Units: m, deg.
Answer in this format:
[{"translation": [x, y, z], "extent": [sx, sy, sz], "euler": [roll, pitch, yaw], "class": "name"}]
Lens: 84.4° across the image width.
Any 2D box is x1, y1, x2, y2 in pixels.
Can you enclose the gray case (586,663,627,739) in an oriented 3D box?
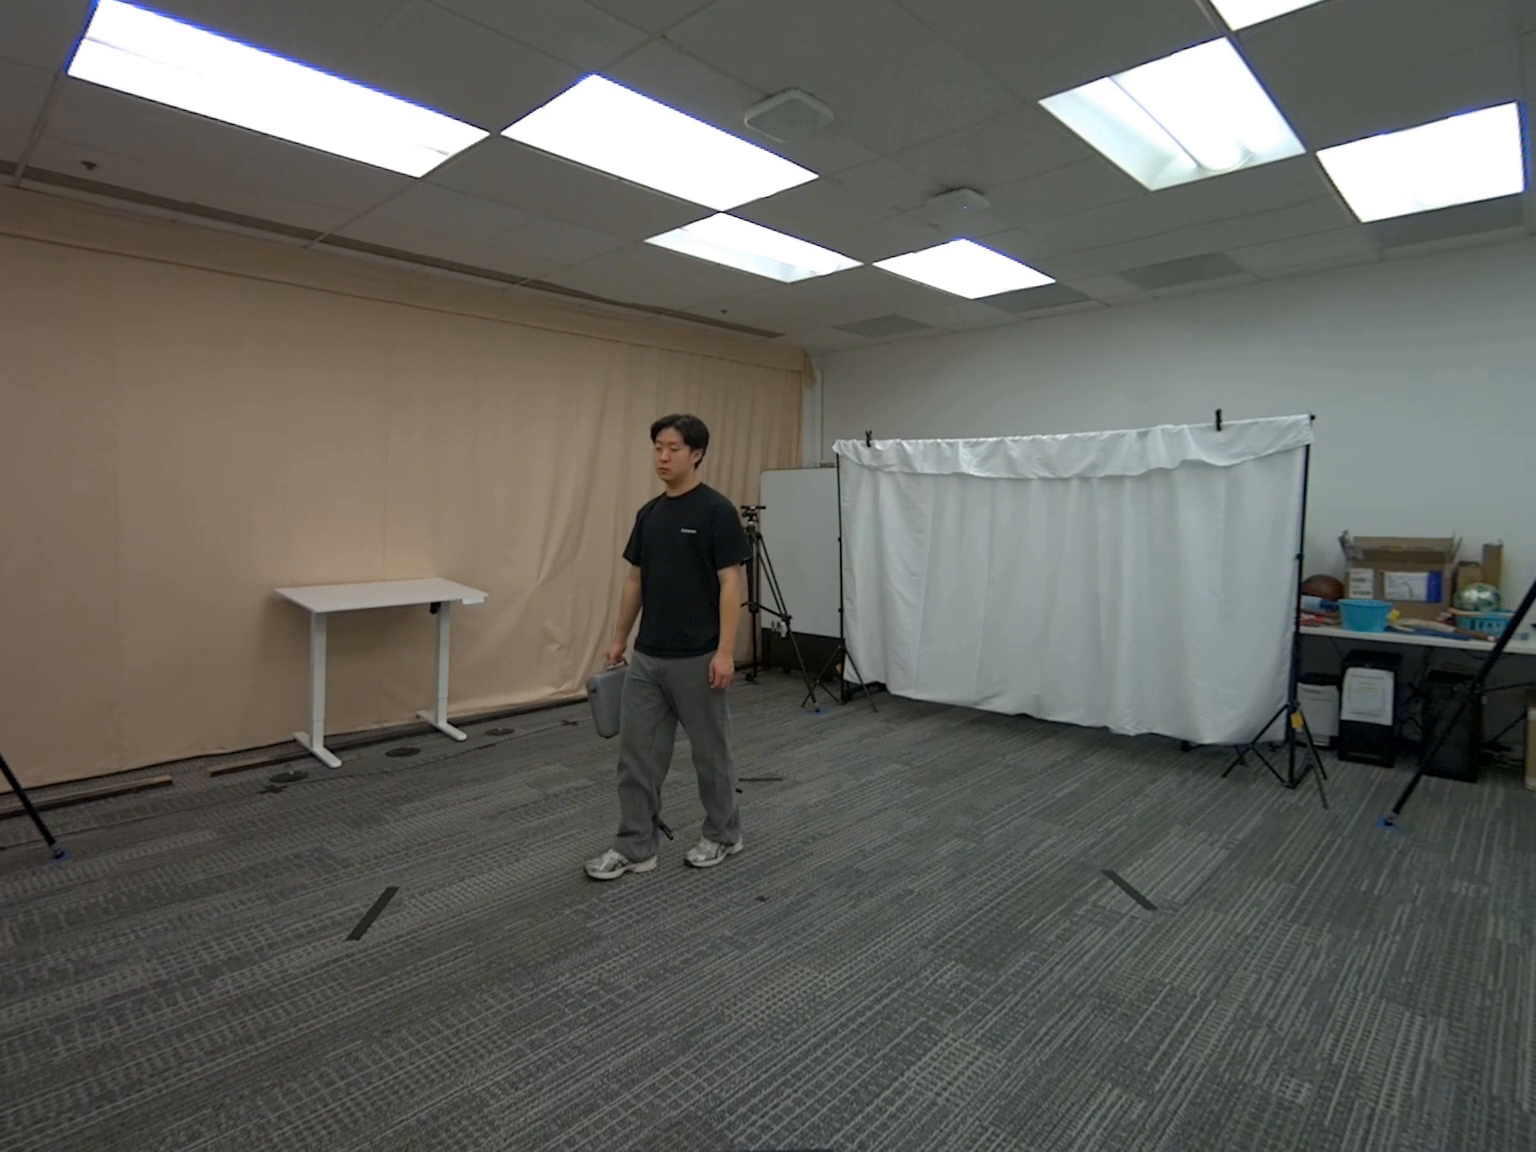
[{"translation": [-0.595, 0.482, 3.419], "extent": [0.106, 0.287, 0.256], "euler": [-9, 2, 43], "class": "gray case"}]
